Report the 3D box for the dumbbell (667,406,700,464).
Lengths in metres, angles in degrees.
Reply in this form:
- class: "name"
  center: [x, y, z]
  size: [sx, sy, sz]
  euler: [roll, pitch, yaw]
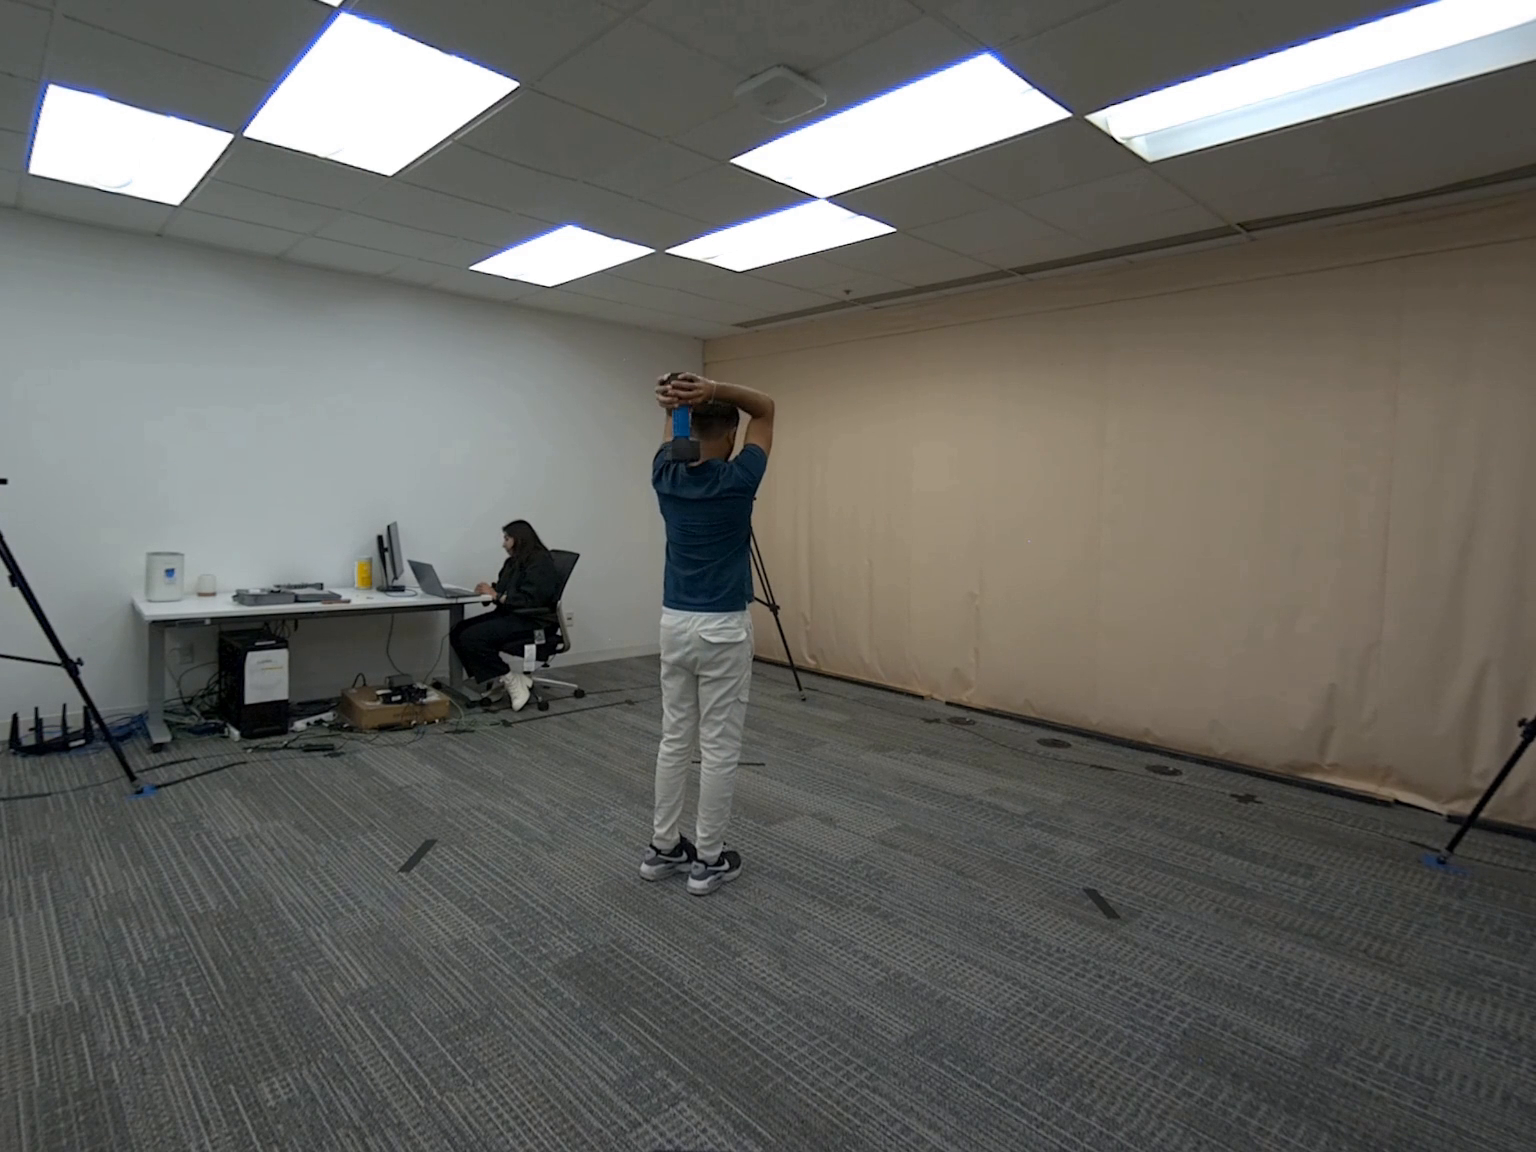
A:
- class: "dumbbell"
  center: [-0.306, -0.527, 2.803]
  size: [0.110, 0.294, 0.120]
  euler: [-2, -4, 23]
